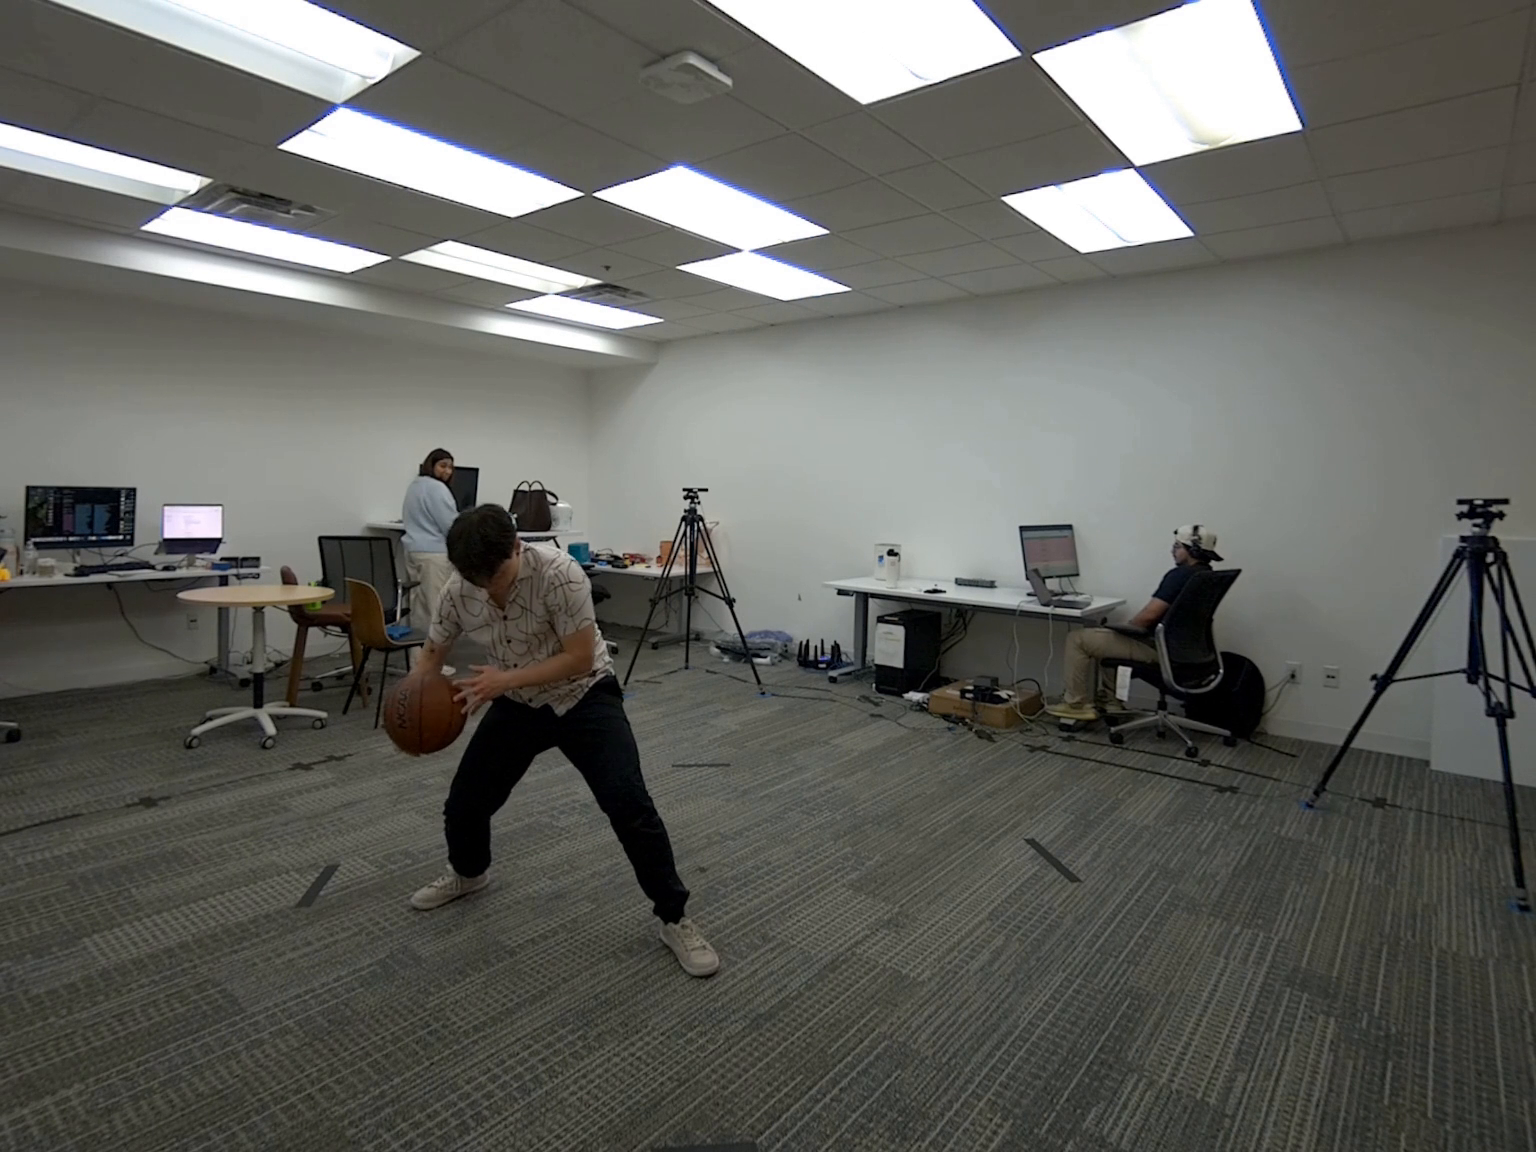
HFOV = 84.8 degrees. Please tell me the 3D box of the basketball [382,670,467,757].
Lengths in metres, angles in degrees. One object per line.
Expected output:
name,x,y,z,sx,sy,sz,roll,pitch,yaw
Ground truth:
basketball,-1.037,0.403,2.517,0.235,0.235,0.237,1,4,-2
